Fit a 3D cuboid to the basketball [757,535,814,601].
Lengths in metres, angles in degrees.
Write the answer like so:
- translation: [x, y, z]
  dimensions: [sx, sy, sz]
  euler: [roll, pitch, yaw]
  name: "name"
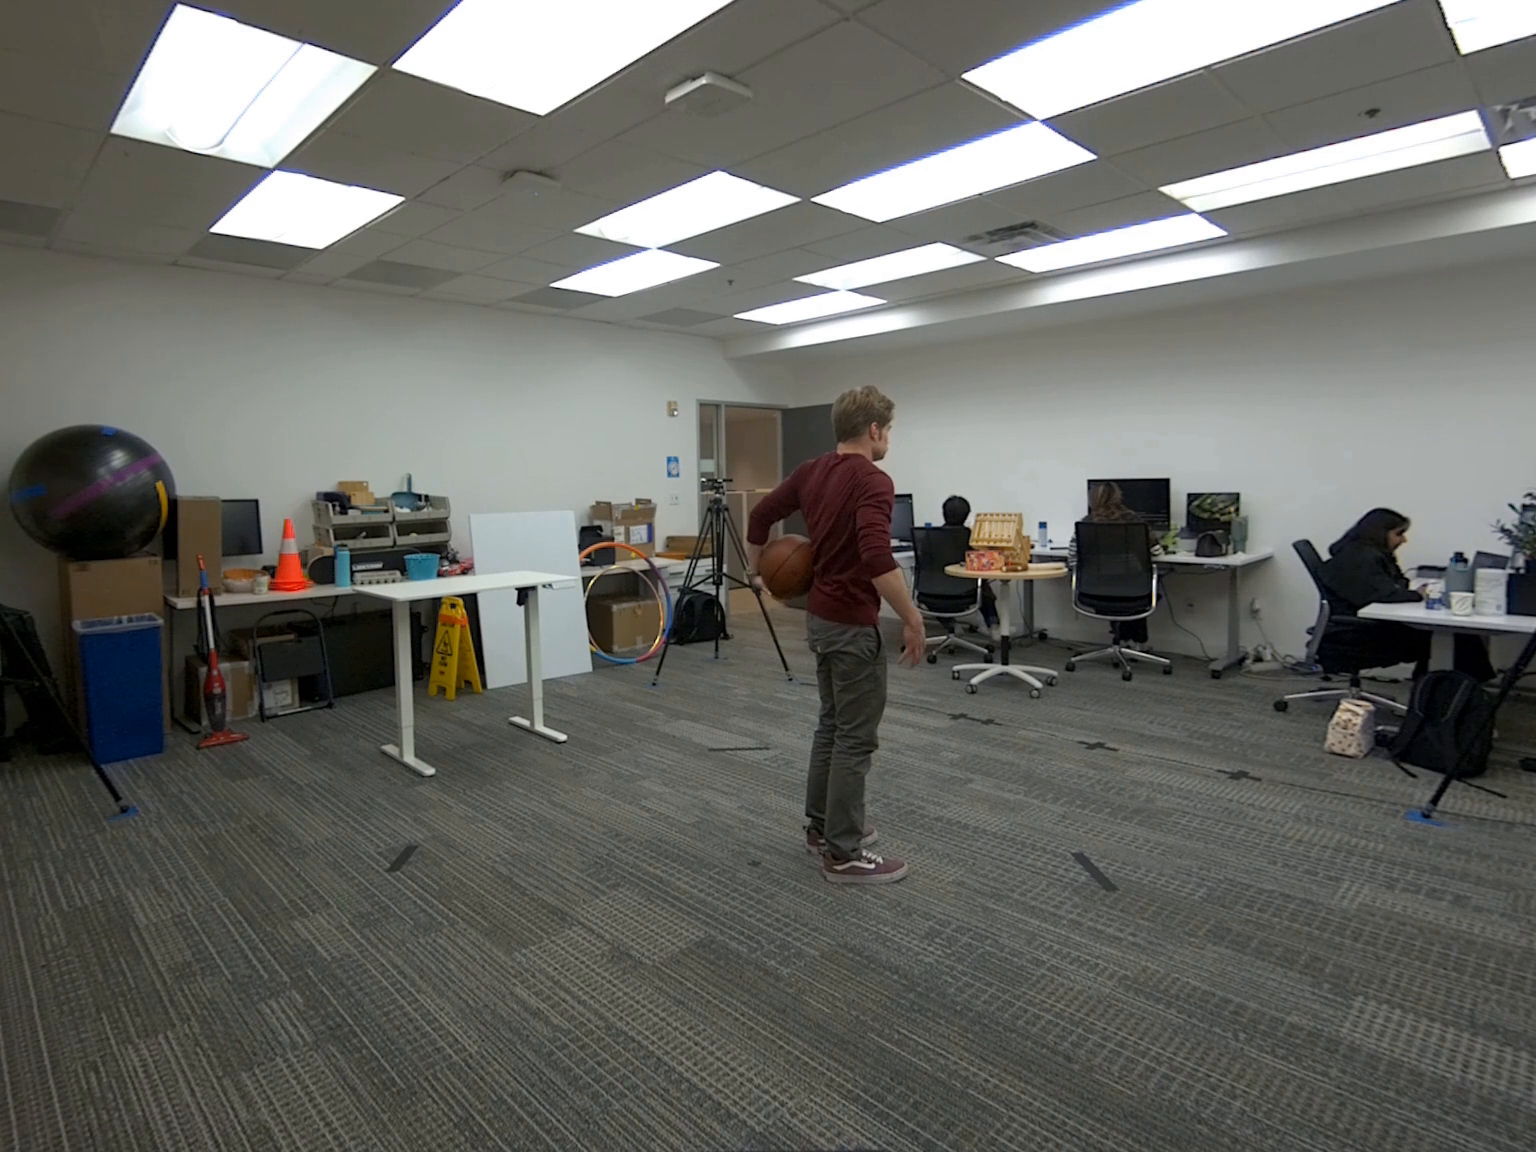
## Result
- translation: [0.091, -0.037, 3.205]
  dimensions: [0.236, 0.235, 0.237]
  euler: [-1, 5, -2]
  name: "basketball"
